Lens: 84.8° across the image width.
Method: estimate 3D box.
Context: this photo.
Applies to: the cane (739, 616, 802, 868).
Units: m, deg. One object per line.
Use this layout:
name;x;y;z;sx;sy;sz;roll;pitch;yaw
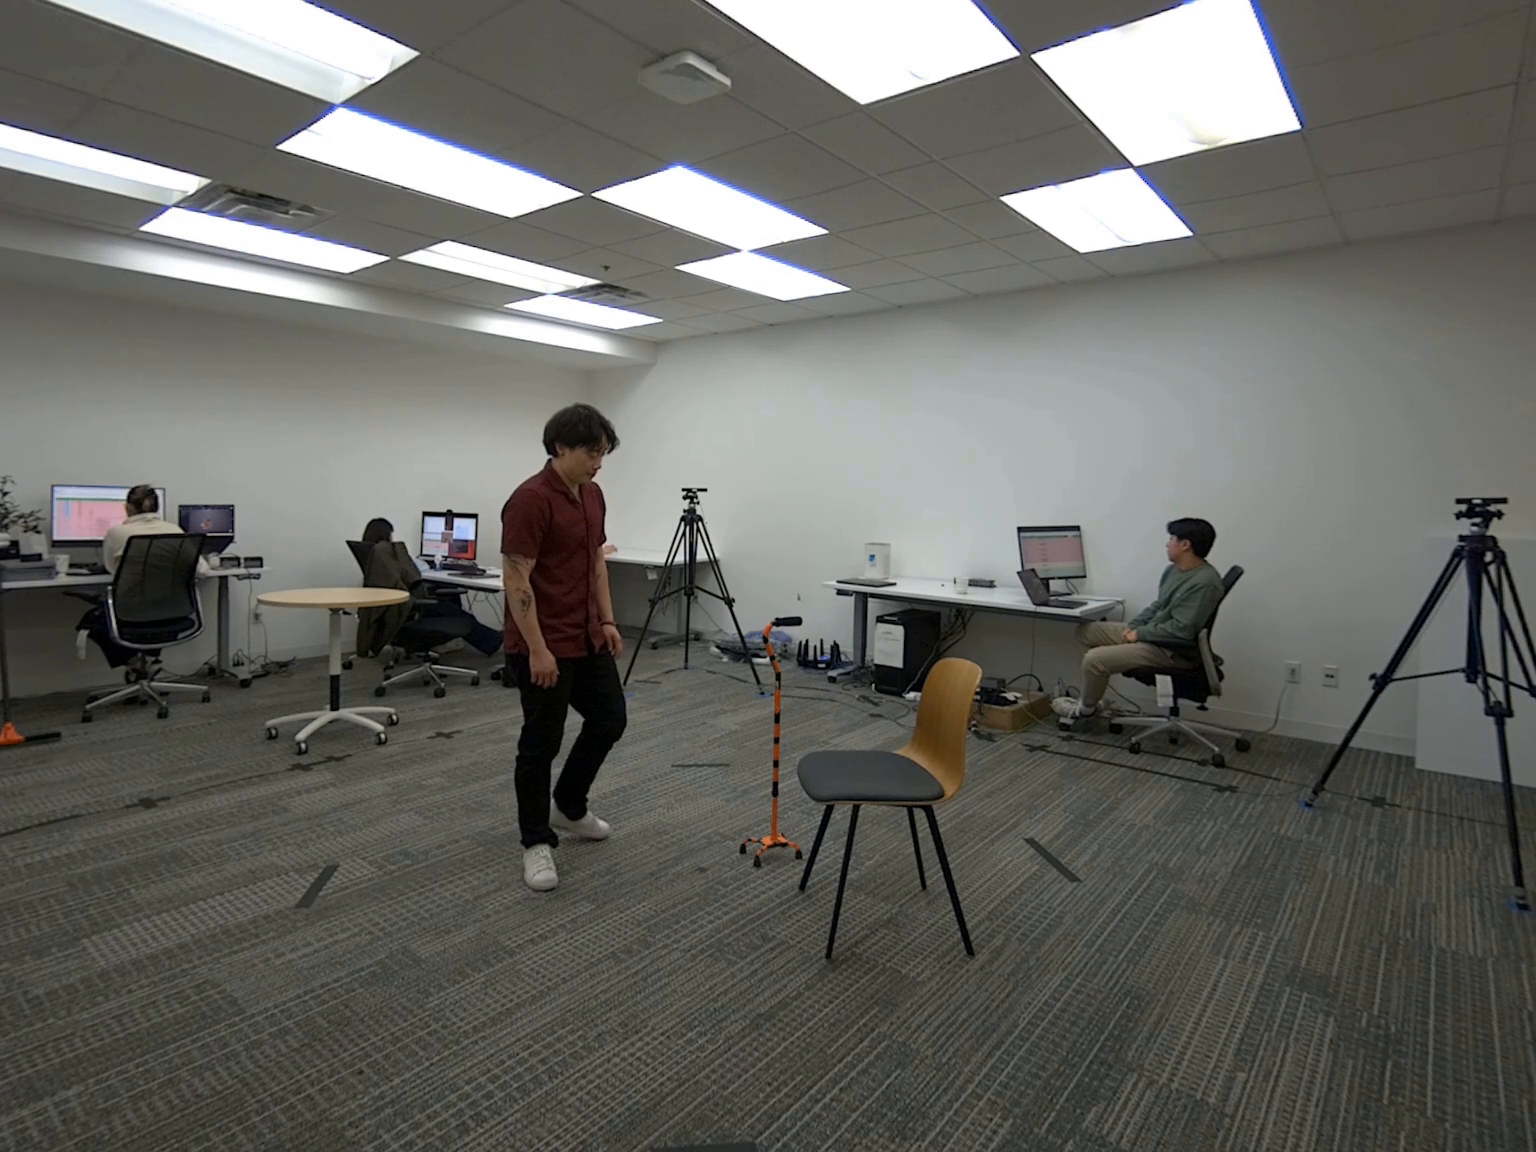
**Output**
cane;0.015;0.607;3.212;0.201;0.905;0.156;0;3;-28
